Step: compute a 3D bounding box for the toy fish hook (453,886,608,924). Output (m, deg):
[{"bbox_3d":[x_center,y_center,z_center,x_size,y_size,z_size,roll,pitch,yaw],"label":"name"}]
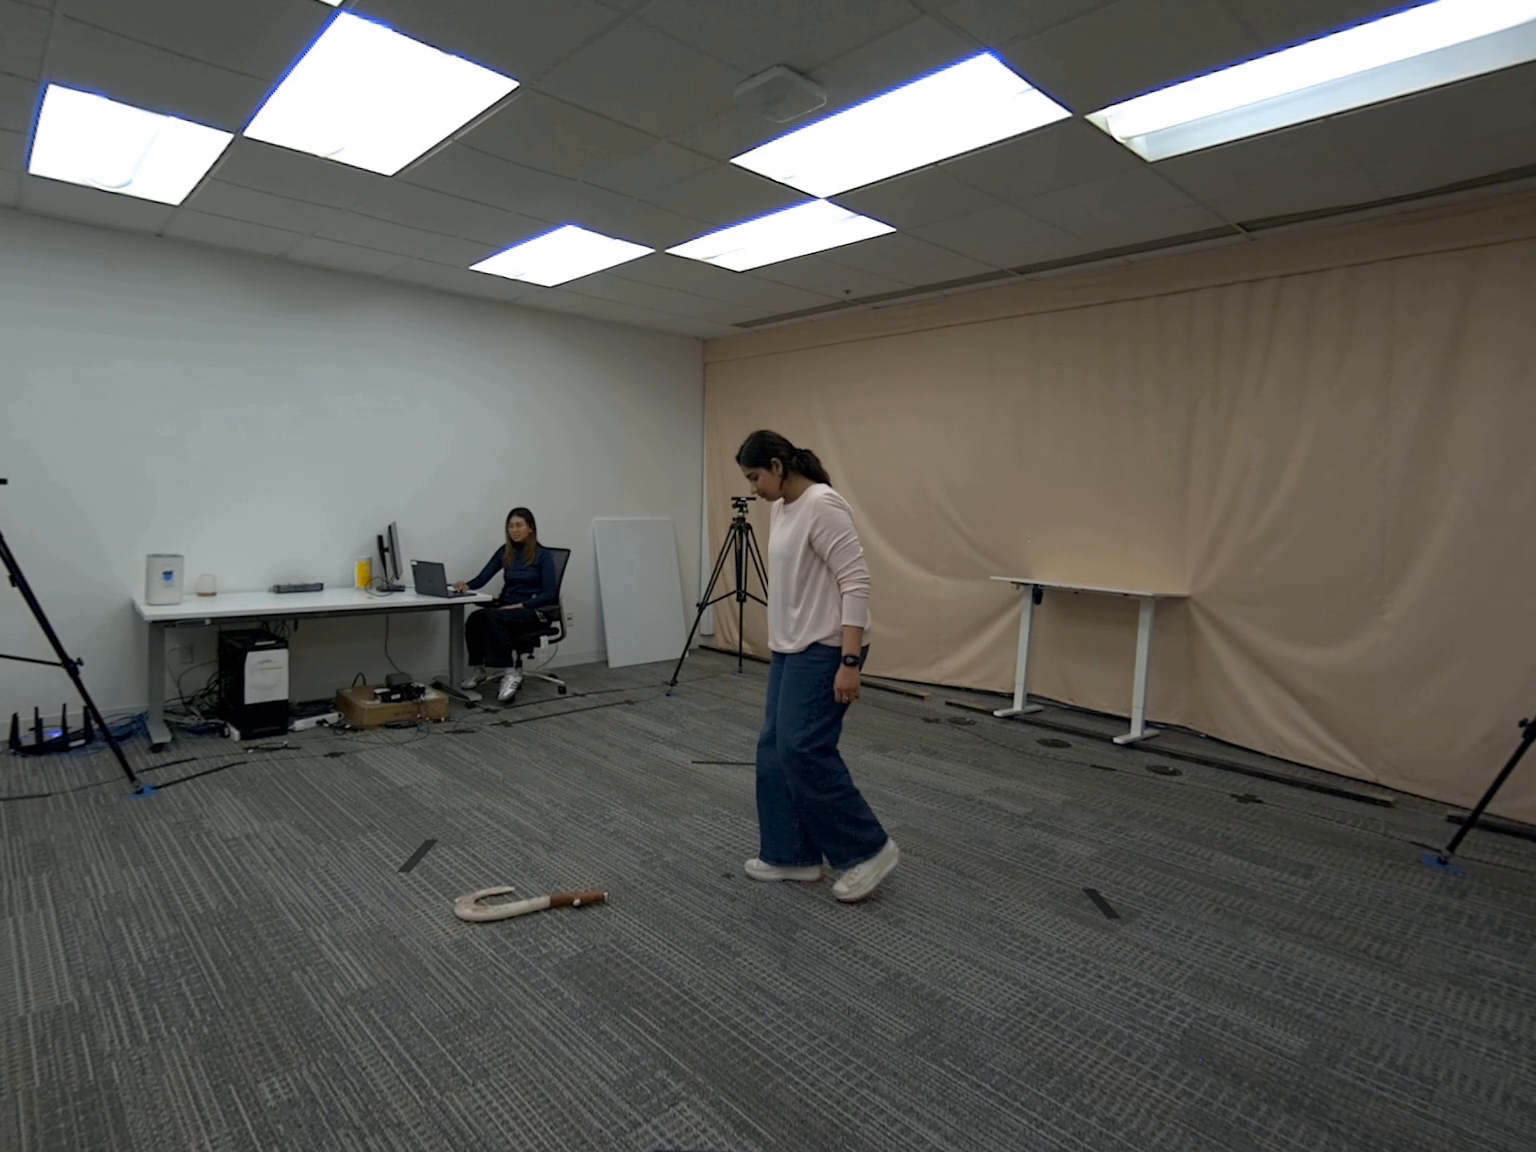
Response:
[{"bbox_3d":[-0.802,1.093,2.857,0.500,0.048,0.228,0,6,-16],"label":"toy fish hook"}]
